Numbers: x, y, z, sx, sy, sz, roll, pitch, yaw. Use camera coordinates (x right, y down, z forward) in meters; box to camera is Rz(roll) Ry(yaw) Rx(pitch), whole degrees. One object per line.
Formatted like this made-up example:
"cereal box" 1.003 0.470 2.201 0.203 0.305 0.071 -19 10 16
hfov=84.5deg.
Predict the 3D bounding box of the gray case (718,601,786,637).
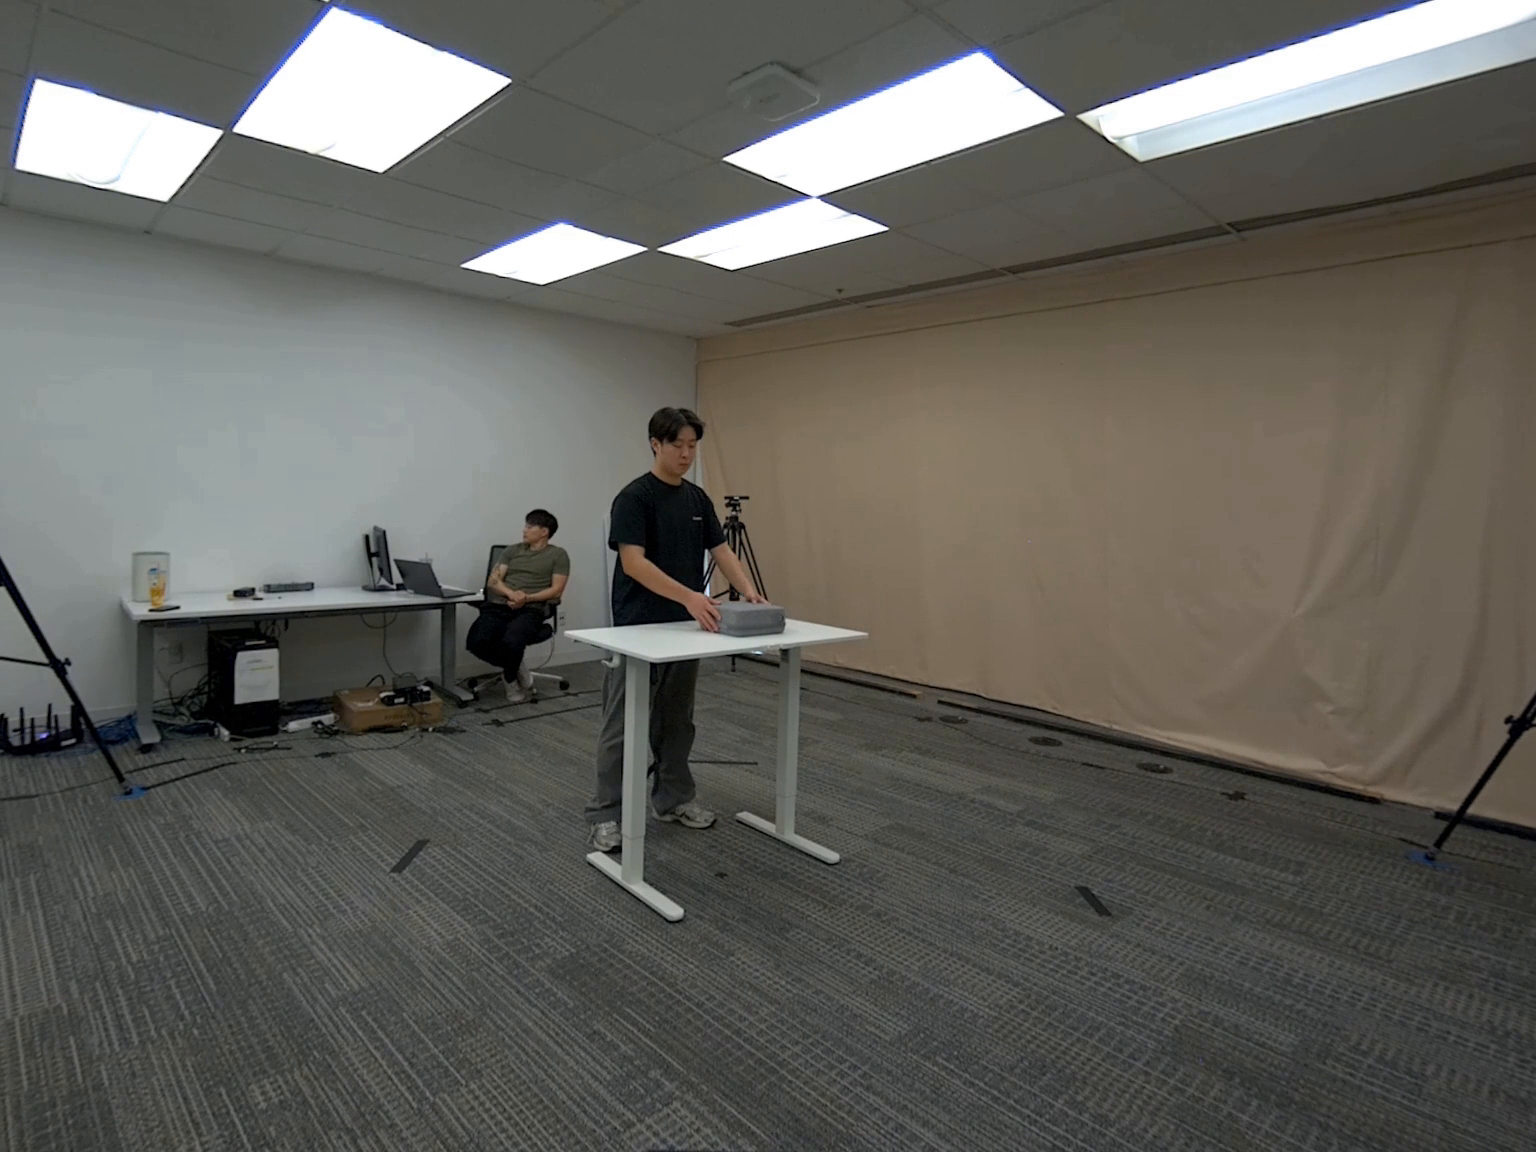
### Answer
"gray case" -0.088 0.162 3.228 0.281 0.103 0.270 -2 6 -38
